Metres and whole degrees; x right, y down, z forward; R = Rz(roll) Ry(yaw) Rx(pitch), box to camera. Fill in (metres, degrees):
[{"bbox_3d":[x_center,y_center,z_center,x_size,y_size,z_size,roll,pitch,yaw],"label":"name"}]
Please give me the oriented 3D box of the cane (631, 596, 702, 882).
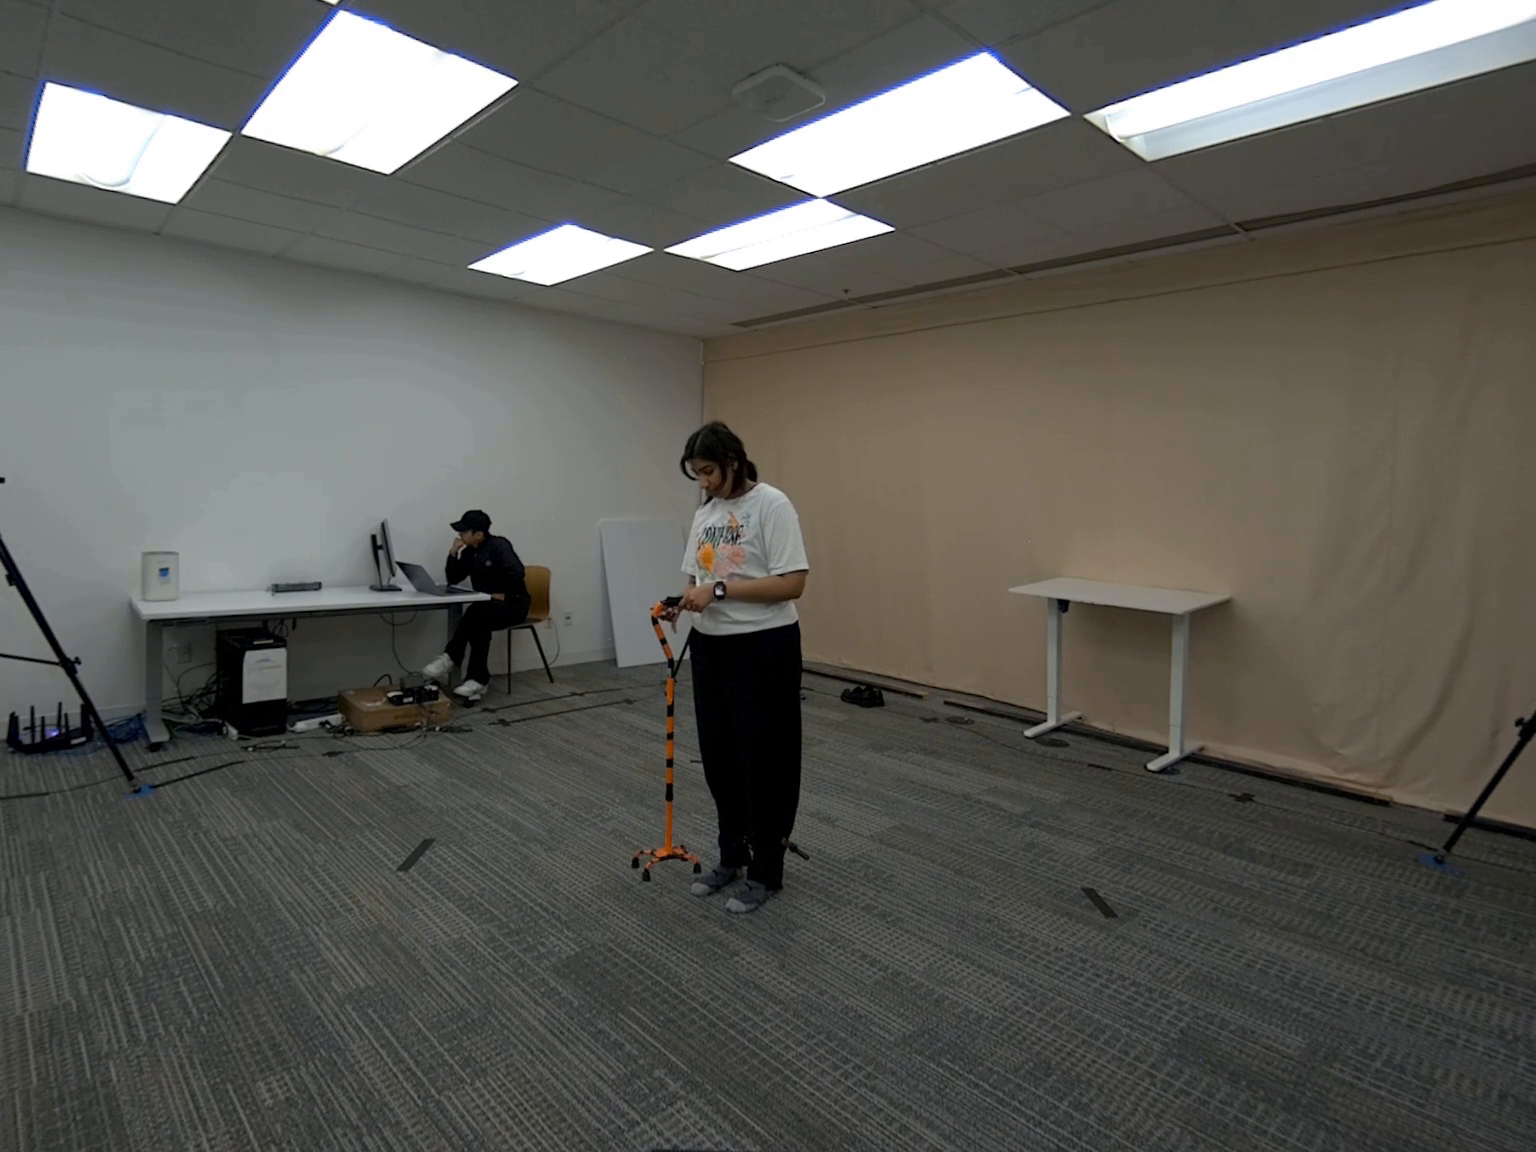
[{"bbox_3d":[-0.350,0.543,2.814,0.202,0.909,0.154,1,-2,-26],"label":"cane"}]
